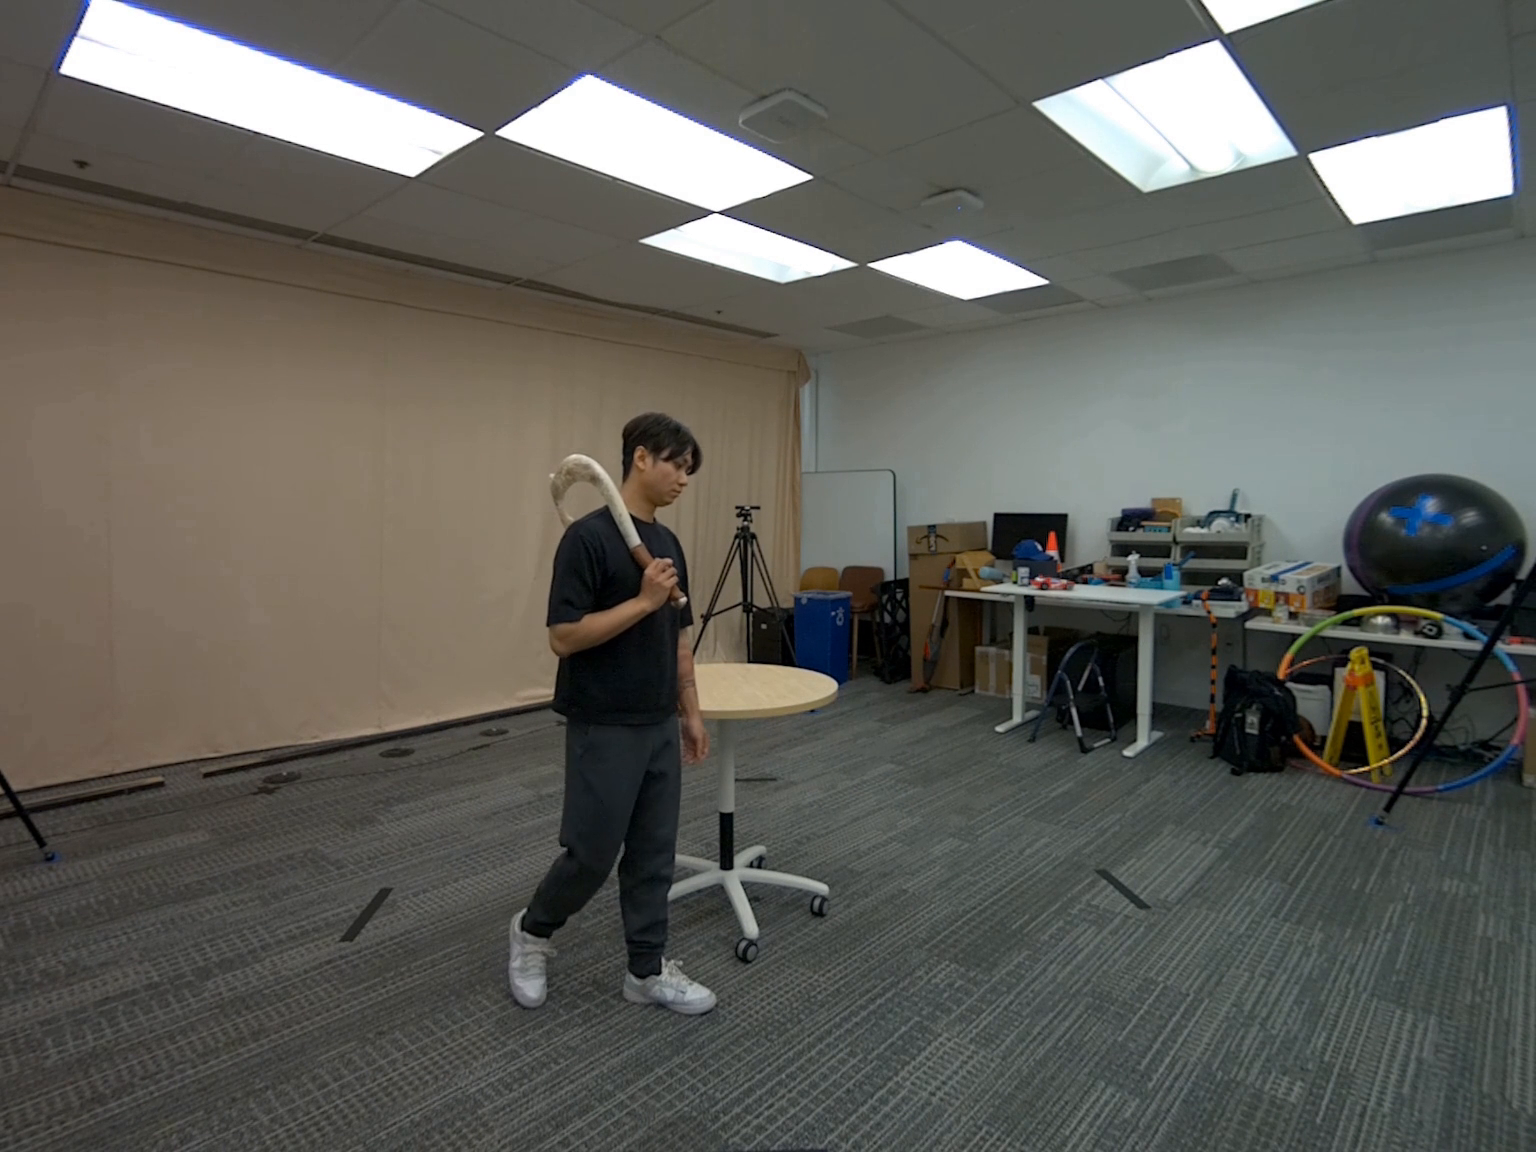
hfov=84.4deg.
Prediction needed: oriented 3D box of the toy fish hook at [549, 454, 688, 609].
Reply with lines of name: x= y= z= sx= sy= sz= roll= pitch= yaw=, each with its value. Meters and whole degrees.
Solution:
toy fish hook: x=-0.412 y=-0.092 z=2.251 sx=0.227 sy=0.510 sz=0.047 roll=-39 pitch=-6 yaw=35
